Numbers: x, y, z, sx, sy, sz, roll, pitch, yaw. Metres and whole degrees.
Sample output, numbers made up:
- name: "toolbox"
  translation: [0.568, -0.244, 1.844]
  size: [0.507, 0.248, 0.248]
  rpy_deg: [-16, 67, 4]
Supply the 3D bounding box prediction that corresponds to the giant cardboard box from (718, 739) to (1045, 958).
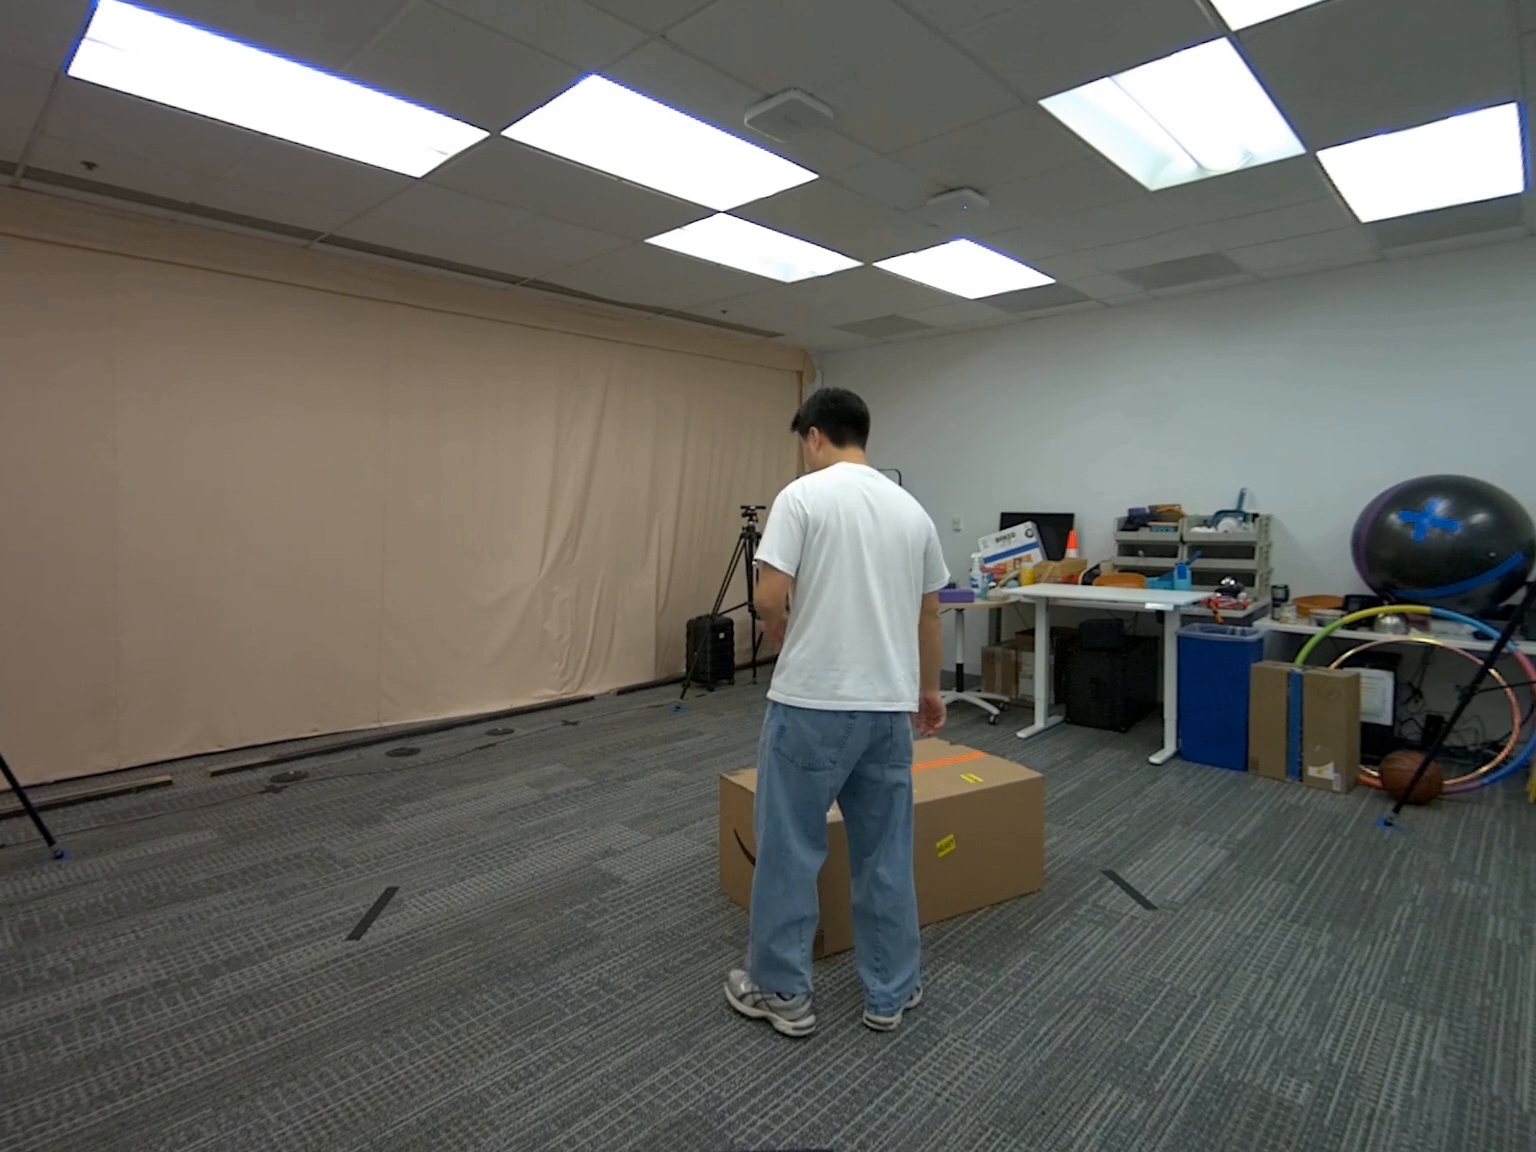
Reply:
- name: "giant cardboard box"
  translation: [0.412, 0.925, 3.044]
  size: [0.999, 0.425, 0.594]
  rpy_deg: [-3, 5, -30]
